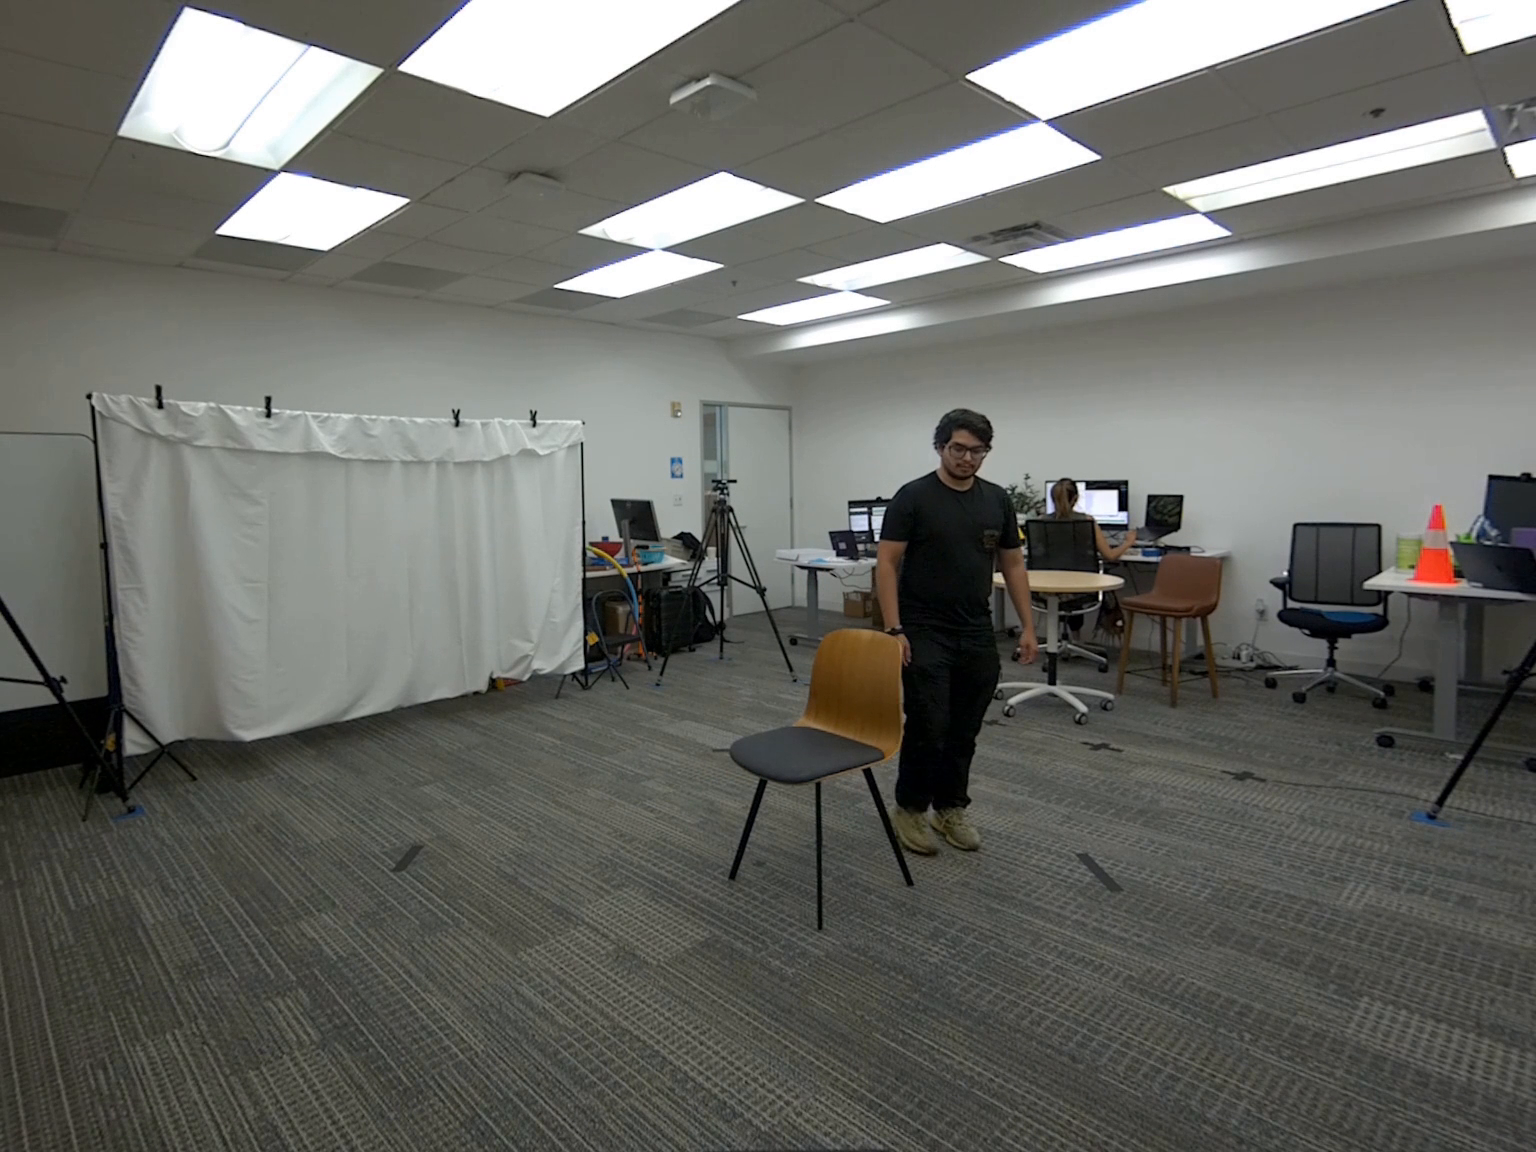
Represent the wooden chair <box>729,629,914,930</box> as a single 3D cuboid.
[{"bbox_3d":[0.171,0.639,2.914,0.508,0.876,0.493,1,2,-40],"label":"wooden chair"}]
